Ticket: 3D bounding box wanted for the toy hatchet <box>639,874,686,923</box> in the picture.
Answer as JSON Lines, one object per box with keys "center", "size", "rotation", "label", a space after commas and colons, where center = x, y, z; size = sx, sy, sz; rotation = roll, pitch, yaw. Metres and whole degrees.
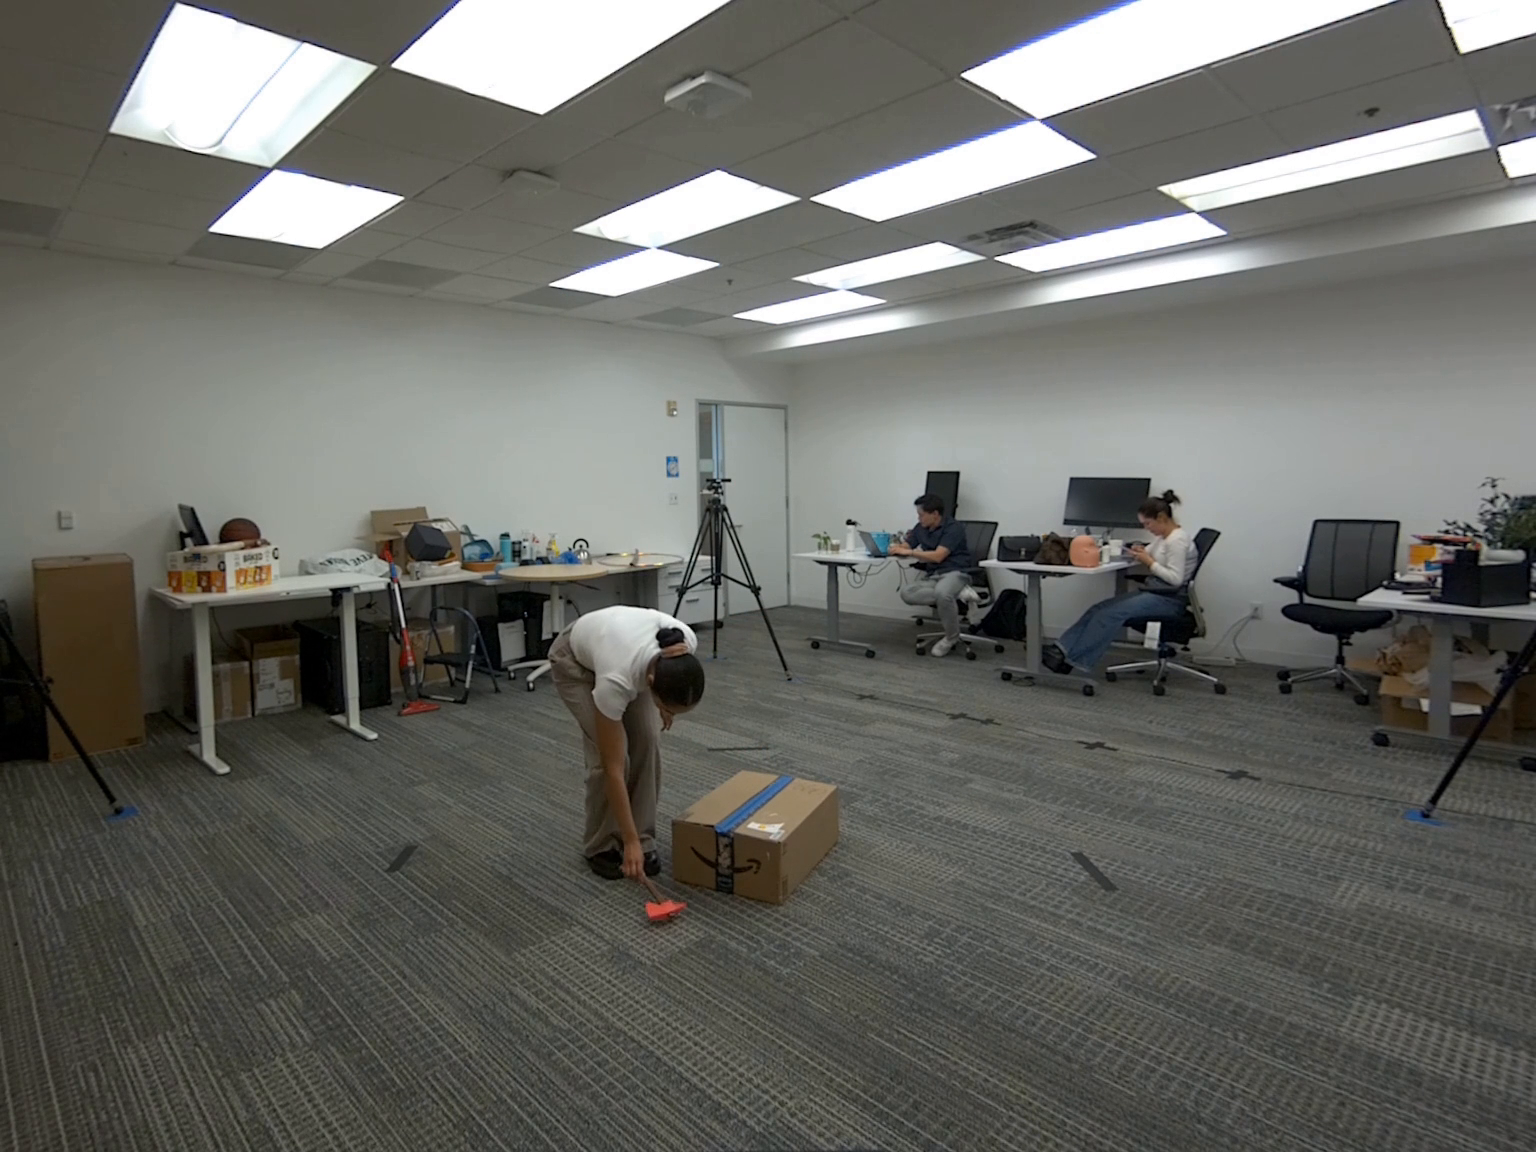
{"center": [-0.405, 1.027, 2.762], "size": [0.279, 0.029, 0.128], "rotation": [22, 24, 34], "label": "toy hatchet"}
